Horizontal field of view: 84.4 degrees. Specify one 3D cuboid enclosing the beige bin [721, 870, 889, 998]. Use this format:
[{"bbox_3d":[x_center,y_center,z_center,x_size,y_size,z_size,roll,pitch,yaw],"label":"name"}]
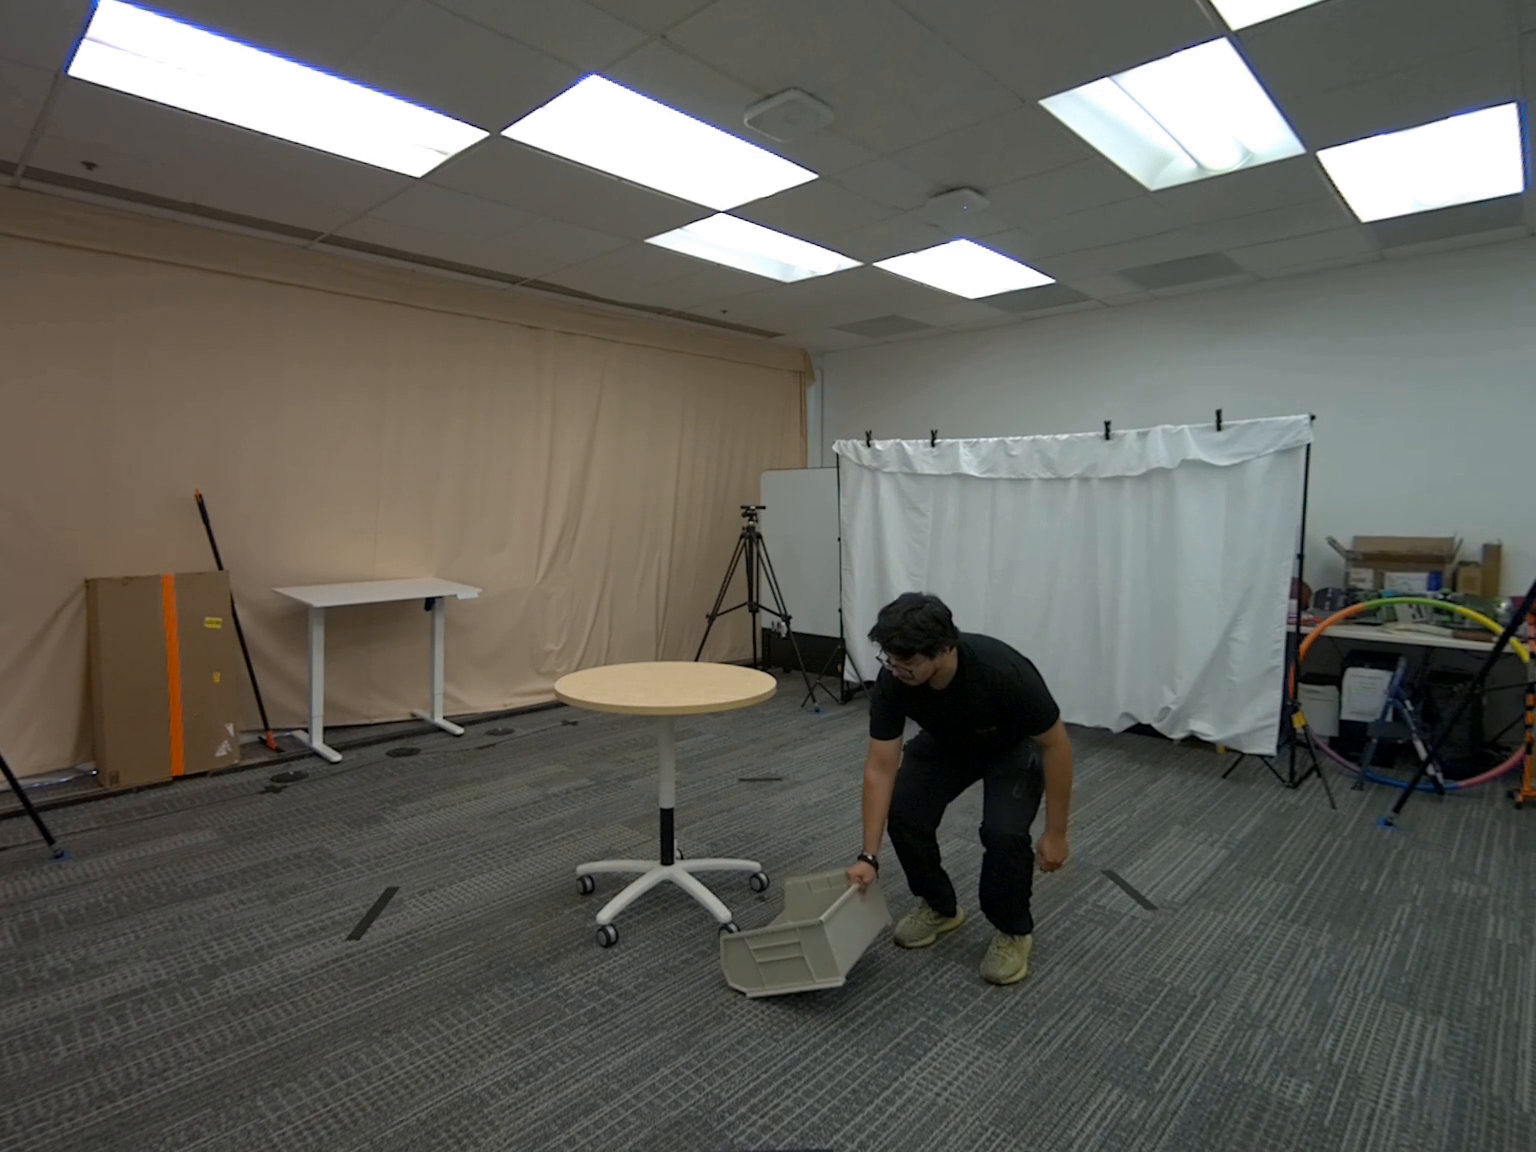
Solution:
[{"bbox_3d":[0.125,1.048,2.495,0.385,0.190,0.412,-21,-6,28],"label":"beige bin"}]
